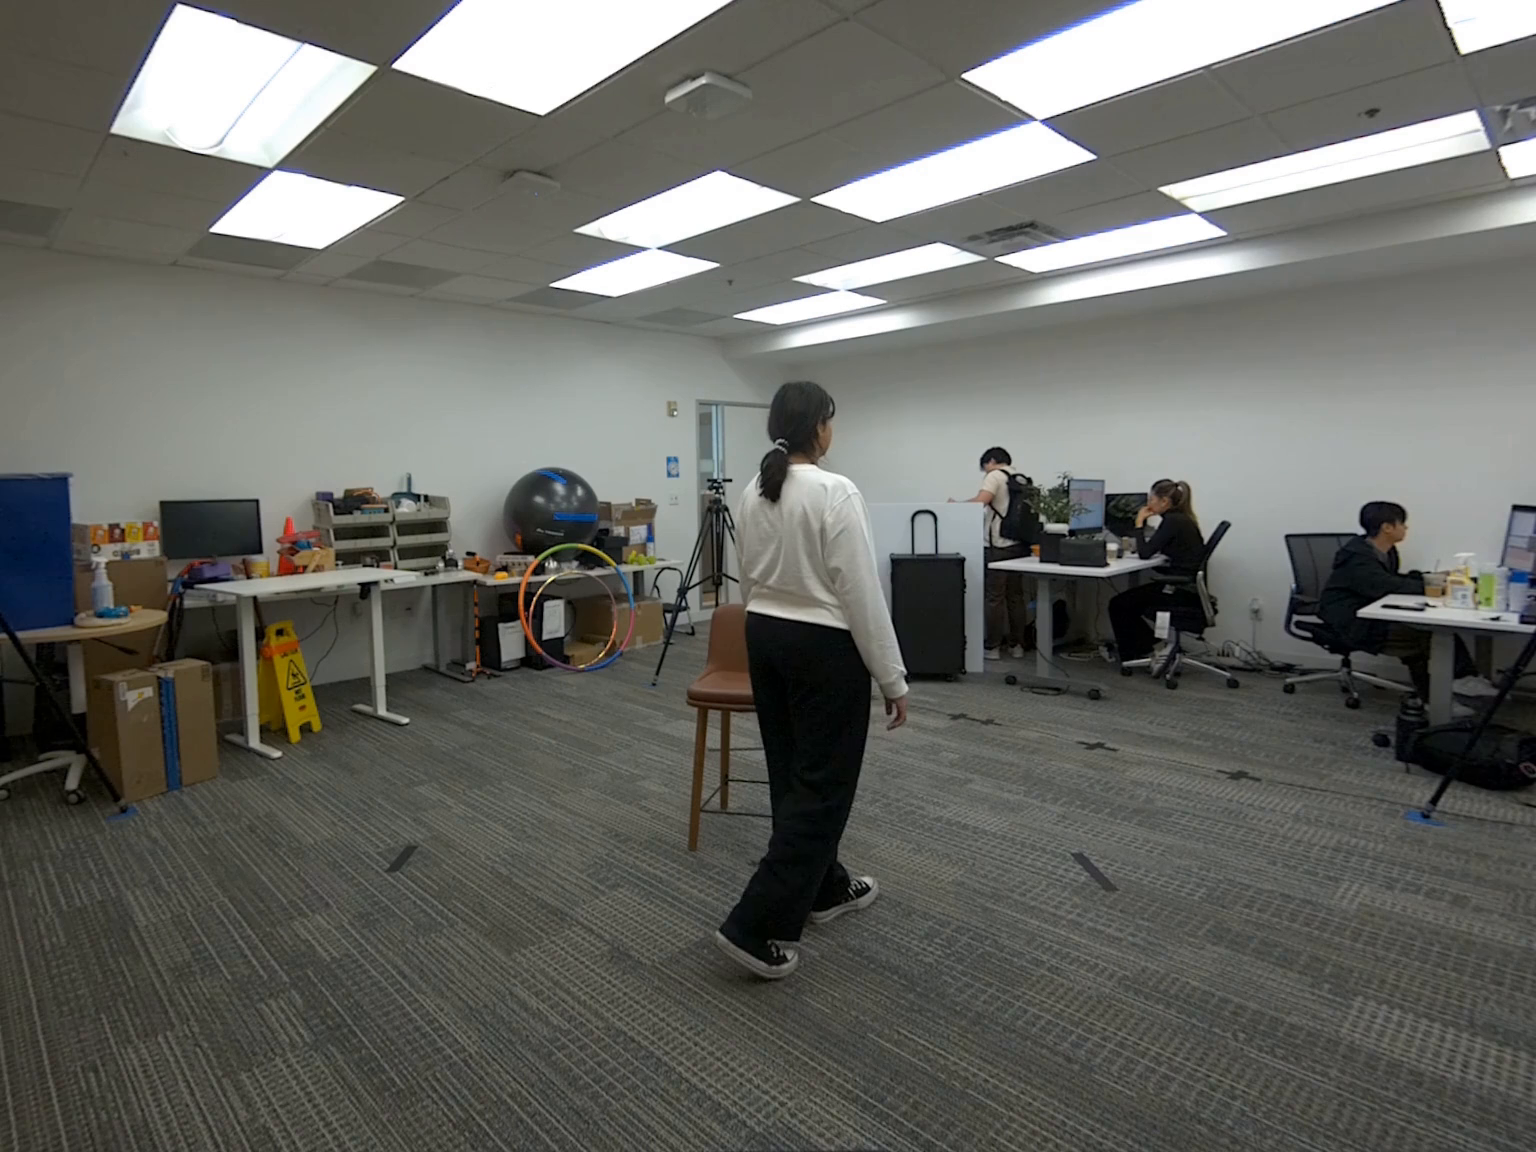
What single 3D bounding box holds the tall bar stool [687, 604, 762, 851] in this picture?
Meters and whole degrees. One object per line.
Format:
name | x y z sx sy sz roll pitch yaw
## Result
tall bar stool | -0.063 0.581 3.369 0.463 0.888 0.462 0 2 14
